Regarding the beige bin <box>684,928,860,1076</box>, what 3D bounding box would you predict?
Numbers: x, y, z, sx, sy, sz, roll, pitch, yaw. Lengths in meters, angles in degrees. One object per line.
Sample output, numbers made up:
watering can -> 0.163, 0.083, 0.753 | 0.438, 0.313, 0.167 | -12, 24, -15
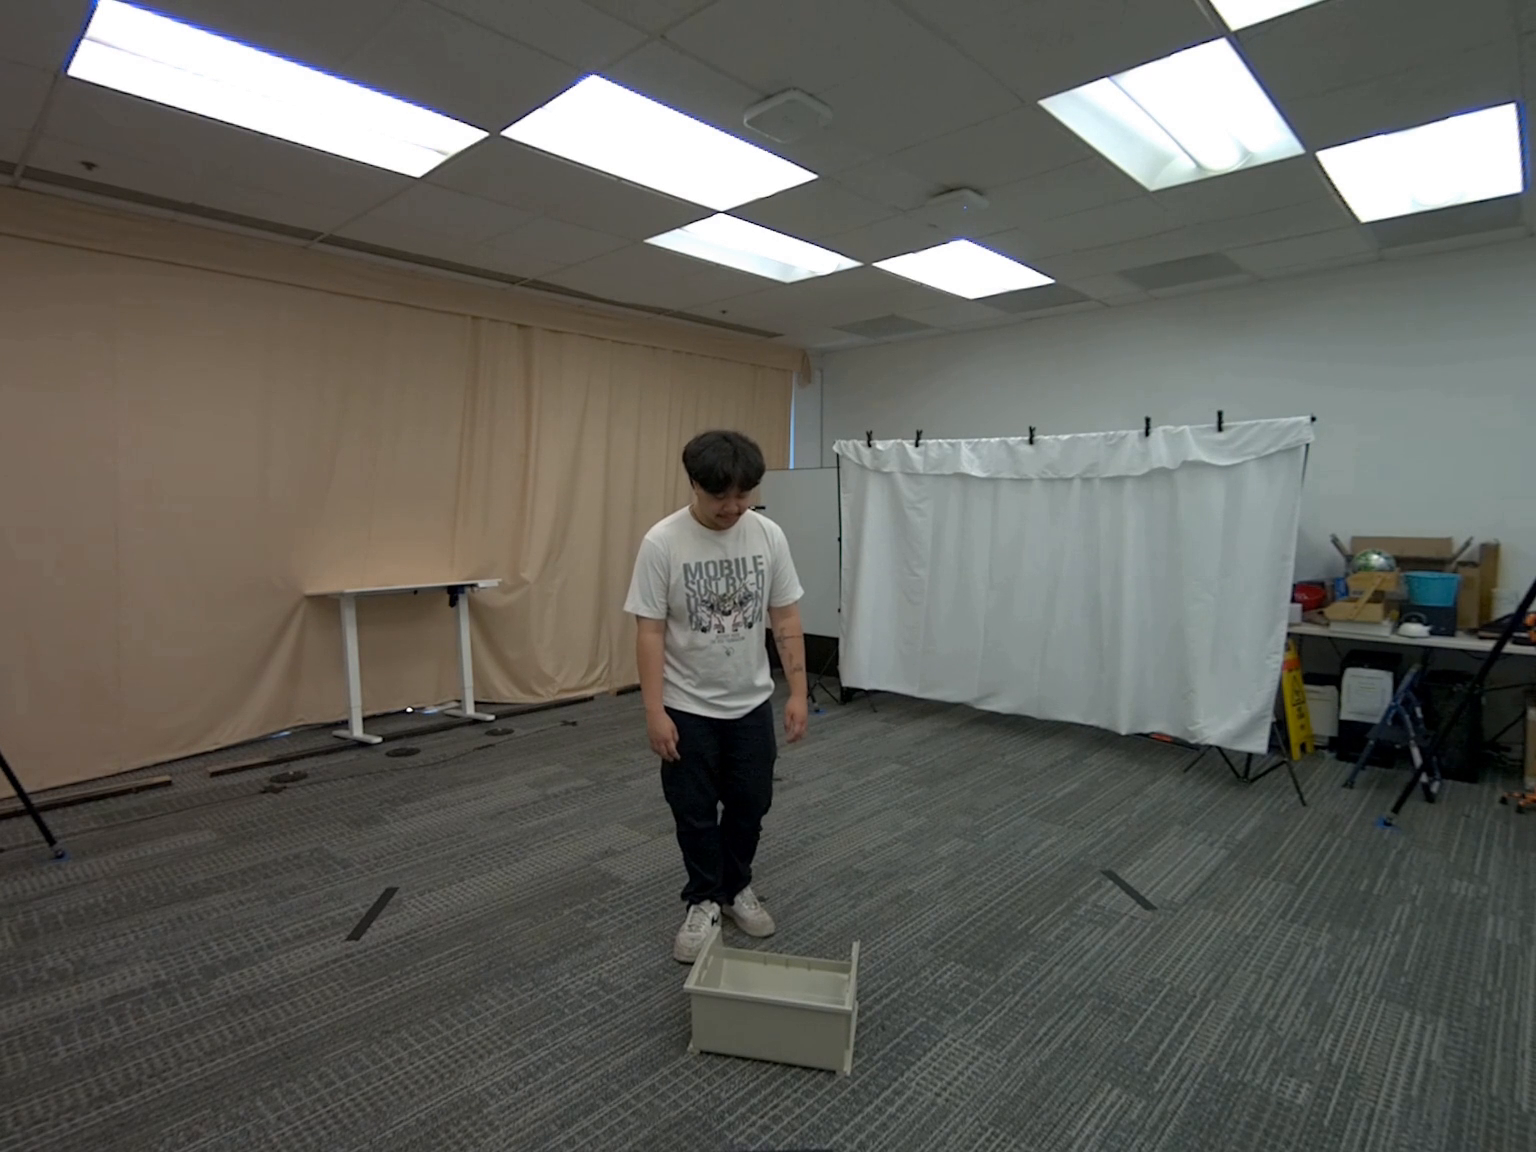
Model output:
beige bin -> 0.031, 1.117, 2.260 | 0.428, 0.188, 0.373 | 2, 6, 11
